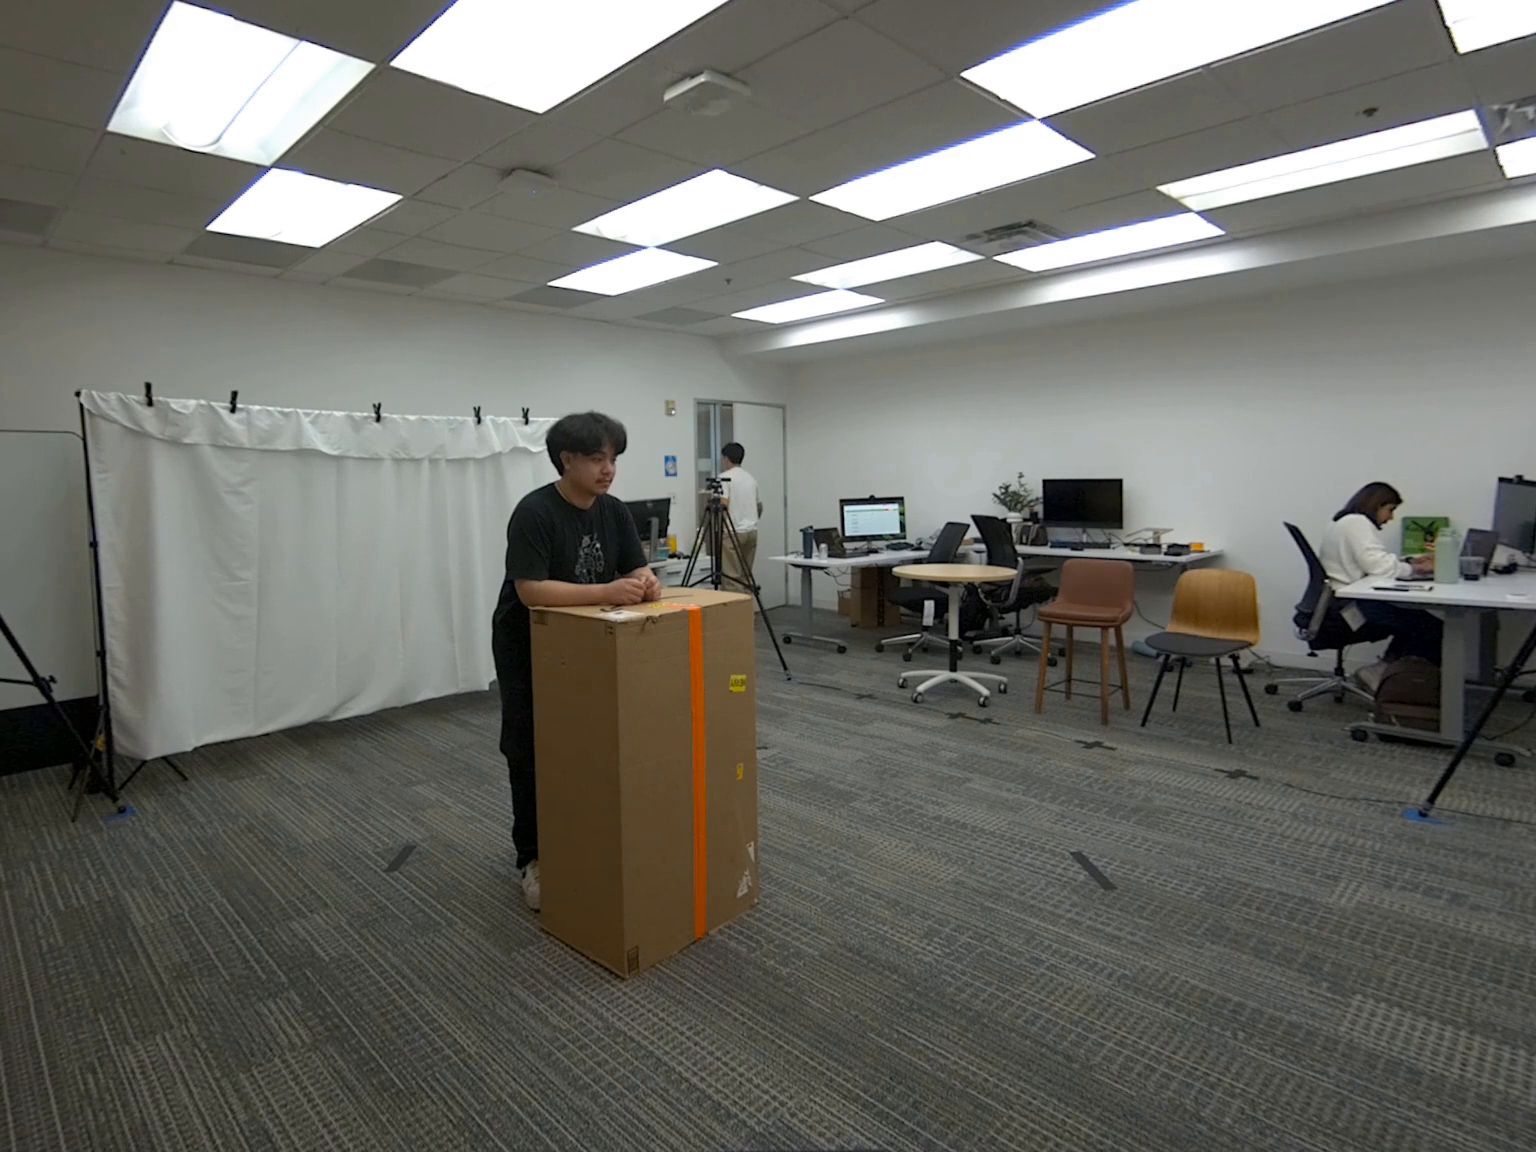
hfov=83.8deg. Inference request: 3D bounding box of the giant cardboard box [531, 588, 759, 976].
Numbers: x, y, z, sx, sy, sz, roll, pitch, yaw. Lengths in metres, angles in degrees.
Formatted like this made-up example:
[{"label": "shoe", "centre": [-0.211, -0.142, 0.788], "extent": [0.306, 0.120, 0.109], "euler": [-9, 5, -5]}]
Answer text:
[{"label": "giant cardboard box", "centre": [-0.374, 0.585, 2.705], "extent": [0.461, 1.022, 0.569], "euler": [4, 7, 43]}]
